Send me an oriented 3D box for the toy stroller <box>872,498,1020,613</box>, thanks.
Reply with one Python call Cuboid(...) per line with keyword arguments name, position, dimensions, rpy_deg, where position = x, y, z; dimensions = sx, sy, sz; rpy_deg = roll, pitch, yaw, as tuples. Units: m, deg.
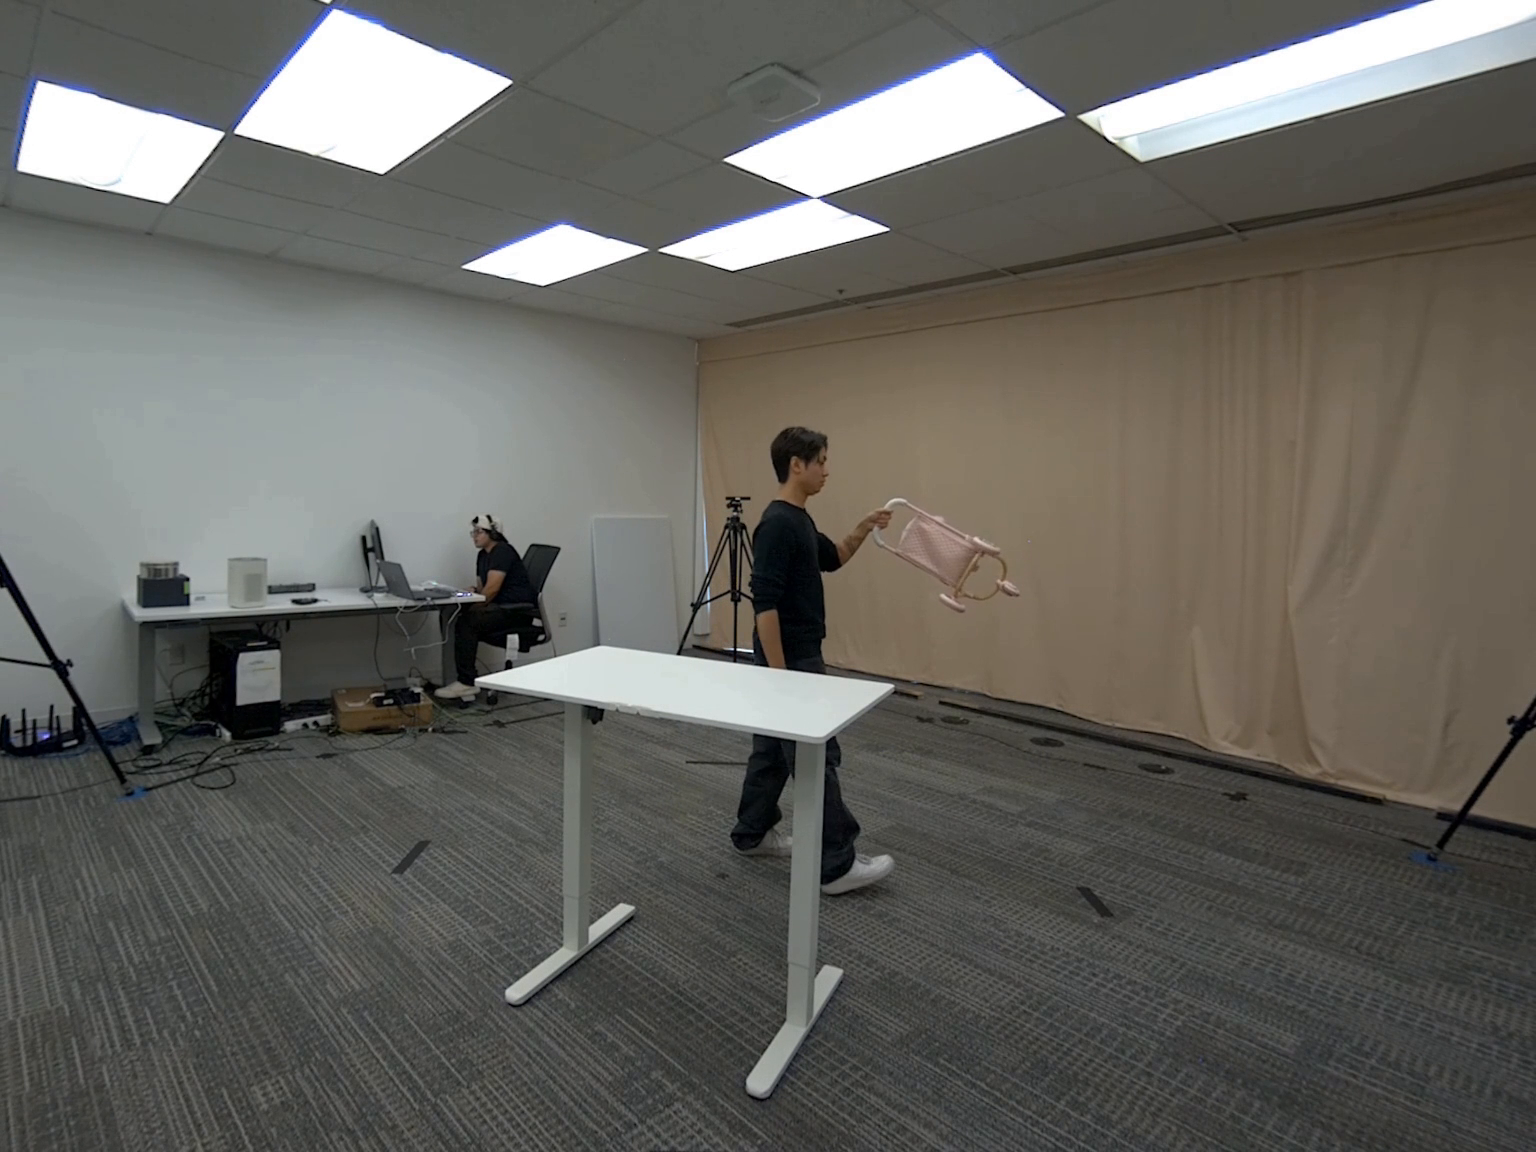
Cuboid(name="toy stroller", position=(0.708, -0.082, 3.308), dimensions=(0.551, 0.280, 0.333), rpy_deg=(37, 20, 35))
